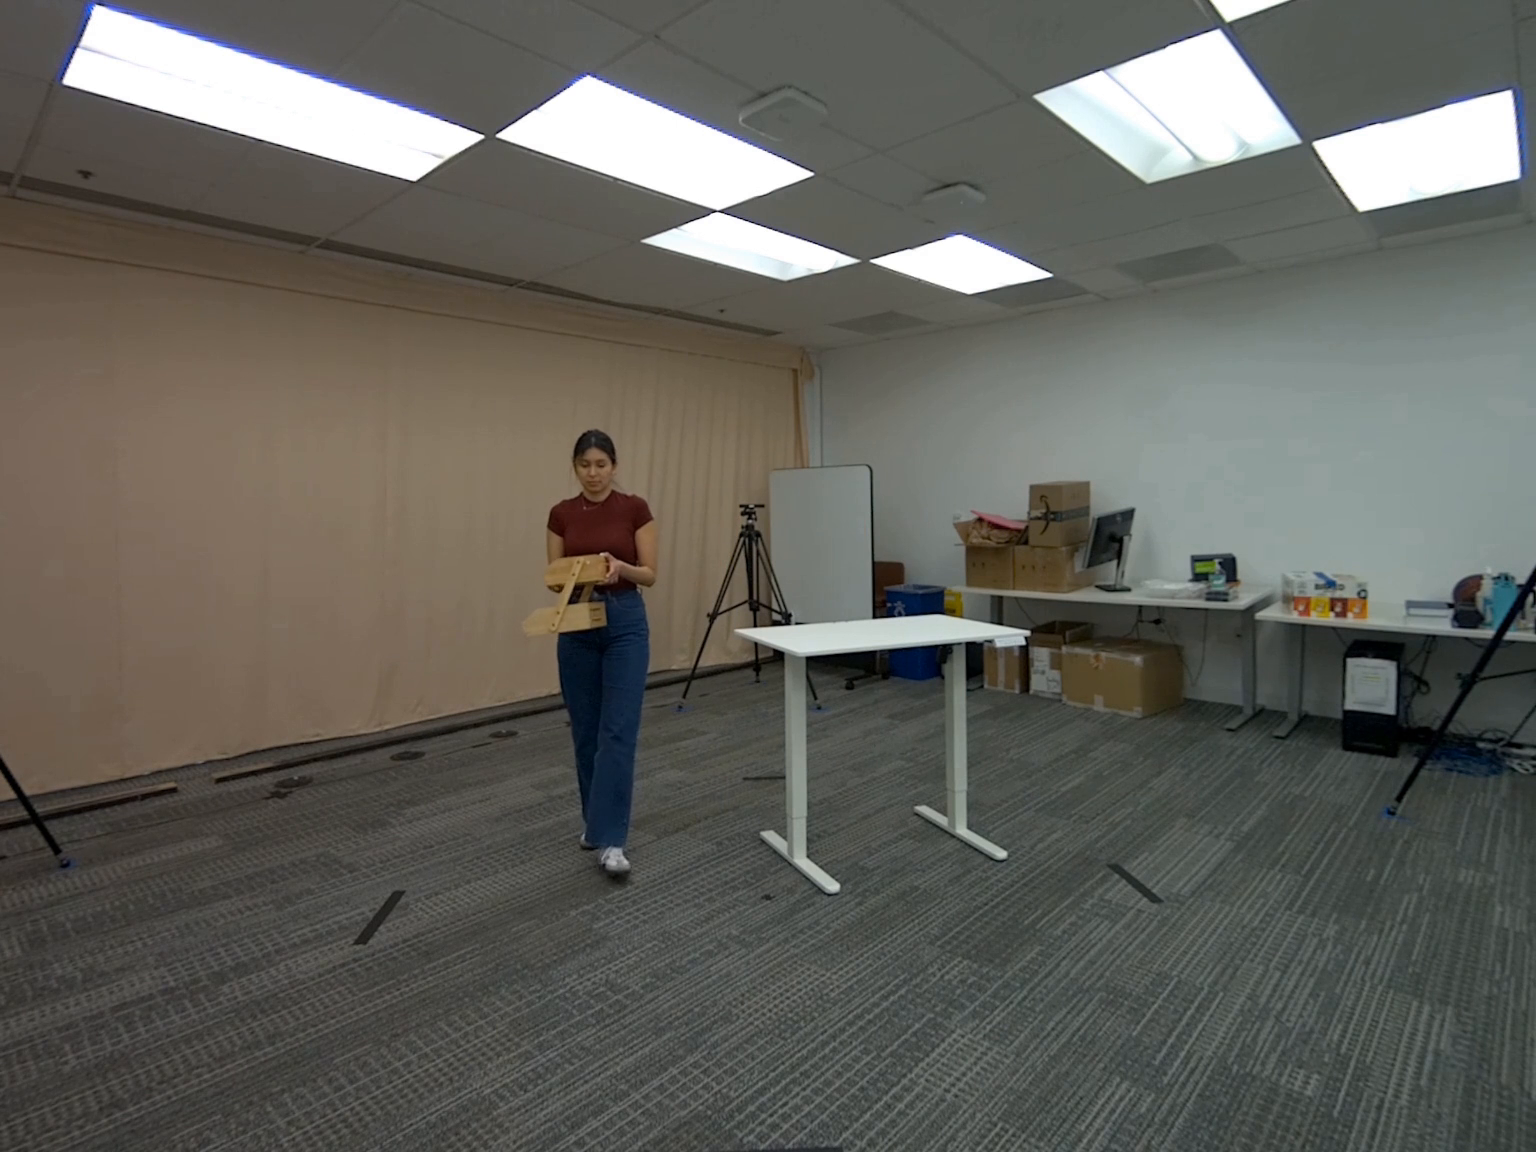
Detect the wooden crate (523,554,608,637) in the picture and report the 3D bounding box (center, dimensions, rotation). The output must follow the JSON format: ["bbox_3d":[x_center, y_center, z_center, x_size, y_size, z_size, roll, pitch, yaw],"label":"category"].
[{"bbox_3d":[-0.755,0.066,3.149,0.303,0.274,0.323,-5,-2,3],"label":"wooden crate"}]
